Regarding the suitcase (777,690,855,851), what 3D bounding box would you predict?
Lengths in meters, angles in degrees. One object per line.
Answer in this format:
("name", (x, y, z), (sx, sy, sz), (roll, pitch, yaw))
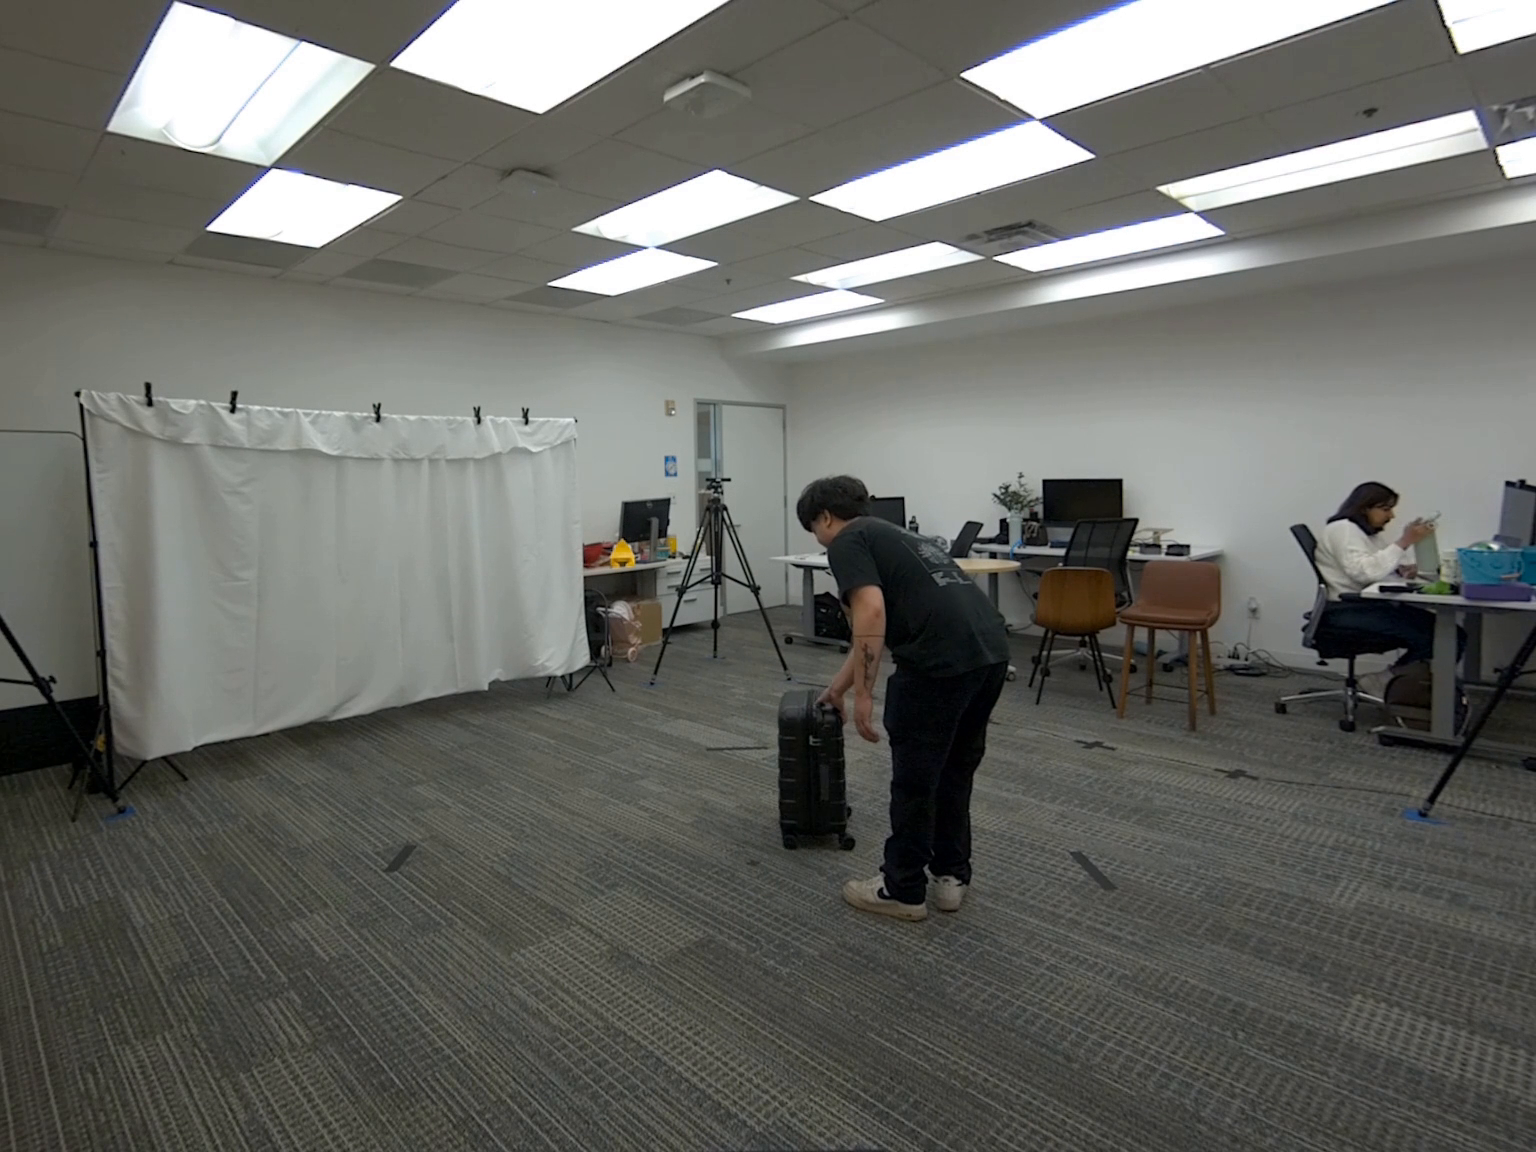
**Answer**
("suitcase", (0.182, 0.735, 3.348), (0.250, 0.547, 0.375), (-2, 5, 5))
